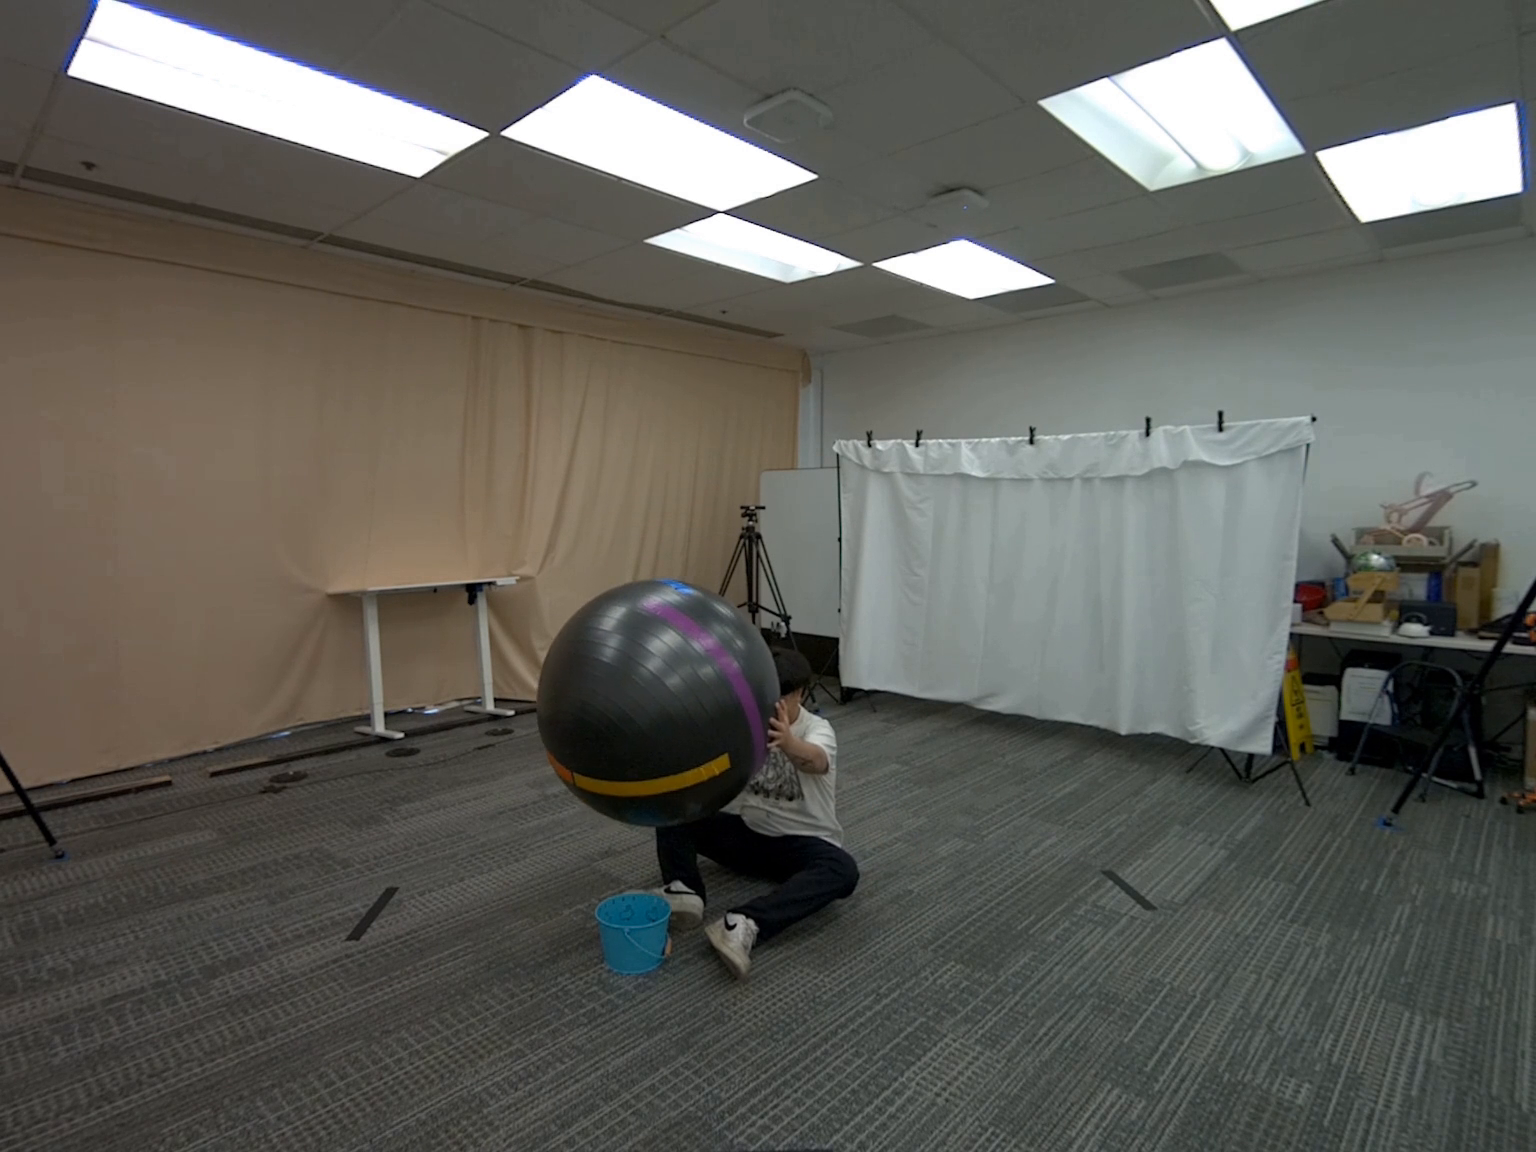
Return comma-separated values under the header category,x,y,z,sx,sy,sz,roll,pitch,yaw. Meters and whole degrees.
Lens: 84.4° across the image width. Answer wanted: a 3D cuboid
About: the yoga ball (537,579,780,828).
category,x,y,z,sx,sy,sz,roll,pitch,yaw
yoga ball,-0.341,0.408,2.637,0.757,0.756,0.760,0,4,-2
